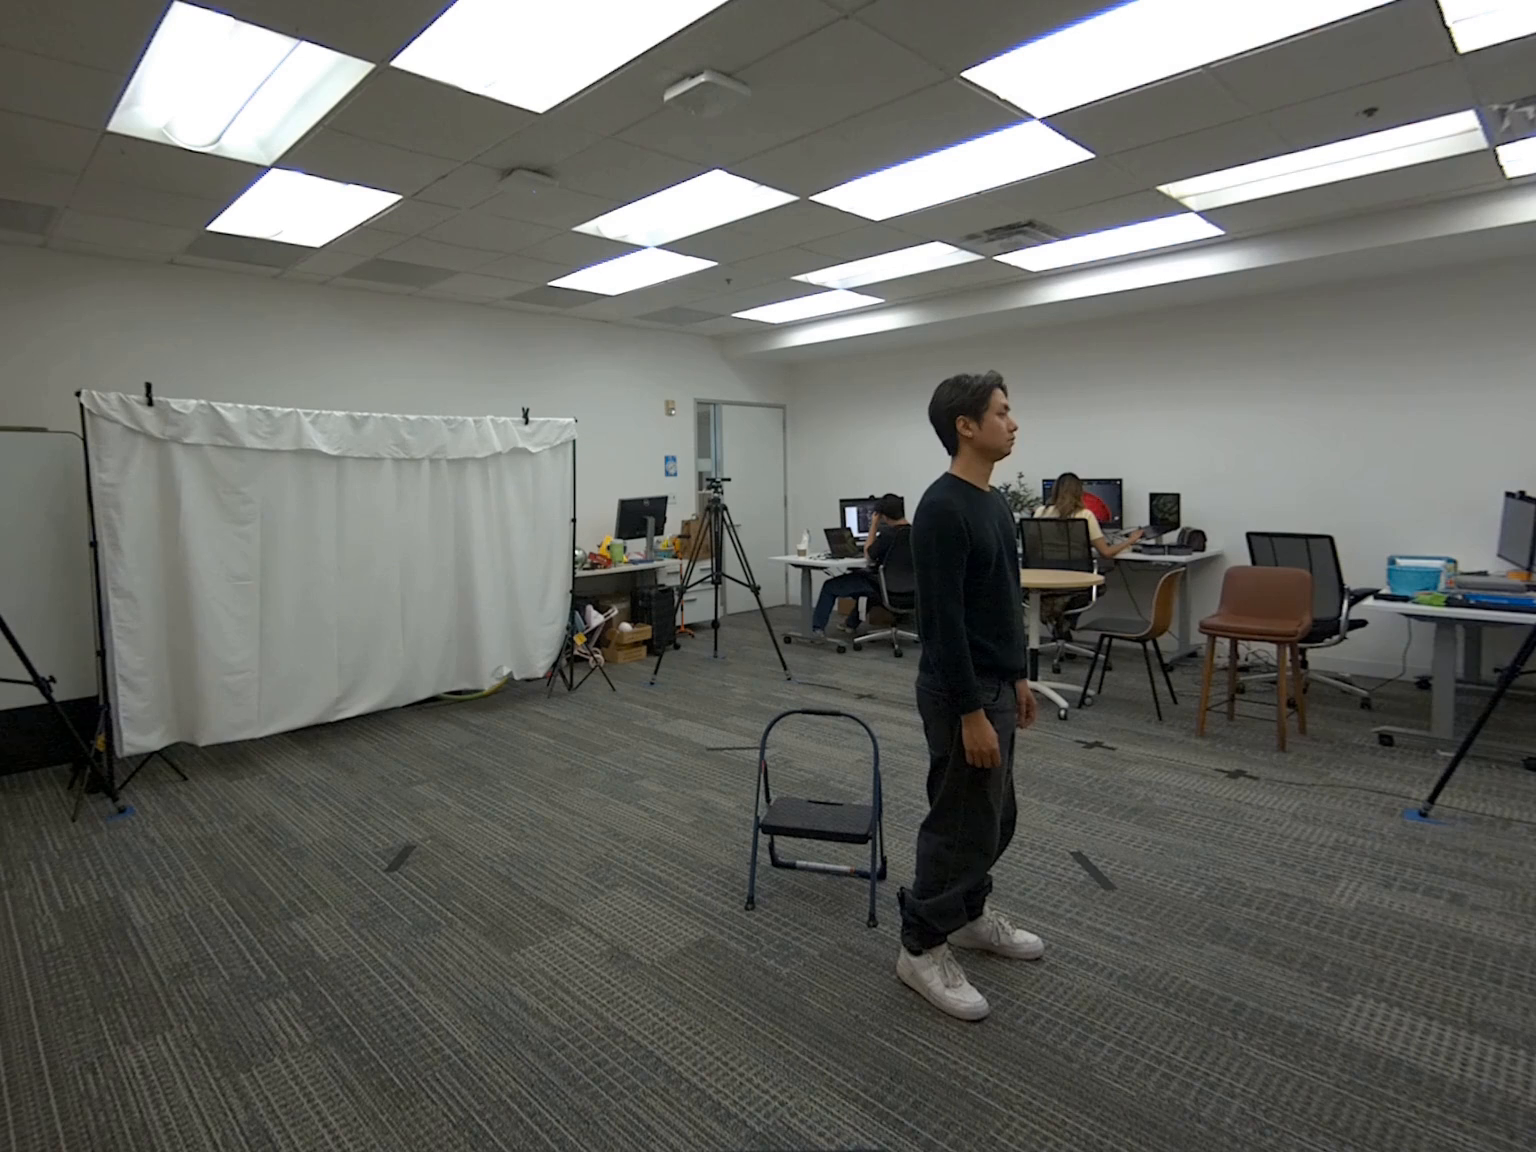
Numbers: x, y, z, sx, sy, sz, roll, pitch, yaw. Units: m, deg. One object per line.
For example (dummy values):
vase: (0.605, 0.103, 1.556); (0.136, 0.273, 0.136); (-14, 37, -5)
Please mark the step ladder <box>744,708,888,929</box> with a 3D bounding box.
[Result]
step ladder: (0.169, 0.766, 2.850); (0.438, 0.603, 0.345); (0, 5, 16)
